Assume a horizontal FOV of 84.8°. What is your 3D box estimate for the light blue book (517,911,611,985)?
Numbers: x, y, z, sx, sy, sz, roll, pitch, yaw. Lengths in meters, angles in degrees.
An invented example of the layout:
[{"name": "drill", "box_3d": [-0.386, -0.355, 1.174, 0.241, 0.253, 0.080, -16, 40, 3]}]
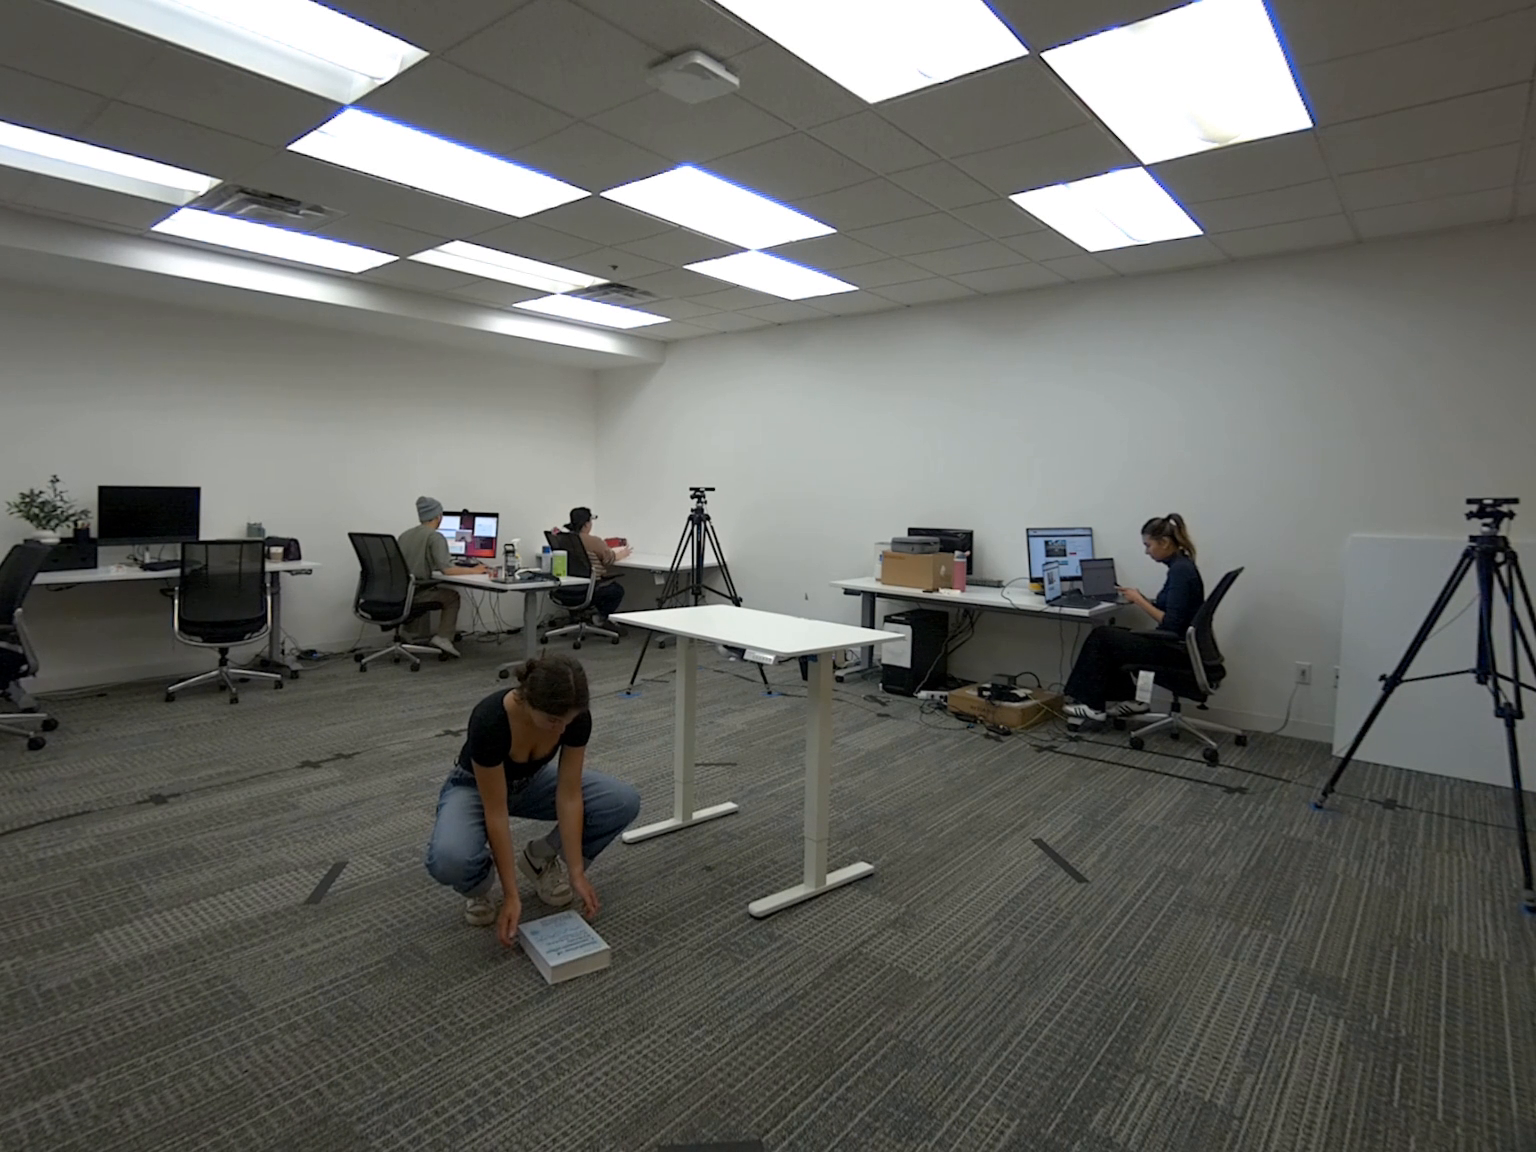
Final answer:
[{"name": "light blue book", "box_3d": [-0.612, 1.088, 2.514, 0.186, 0.059, 0.269, -3, 7, -34]}]
